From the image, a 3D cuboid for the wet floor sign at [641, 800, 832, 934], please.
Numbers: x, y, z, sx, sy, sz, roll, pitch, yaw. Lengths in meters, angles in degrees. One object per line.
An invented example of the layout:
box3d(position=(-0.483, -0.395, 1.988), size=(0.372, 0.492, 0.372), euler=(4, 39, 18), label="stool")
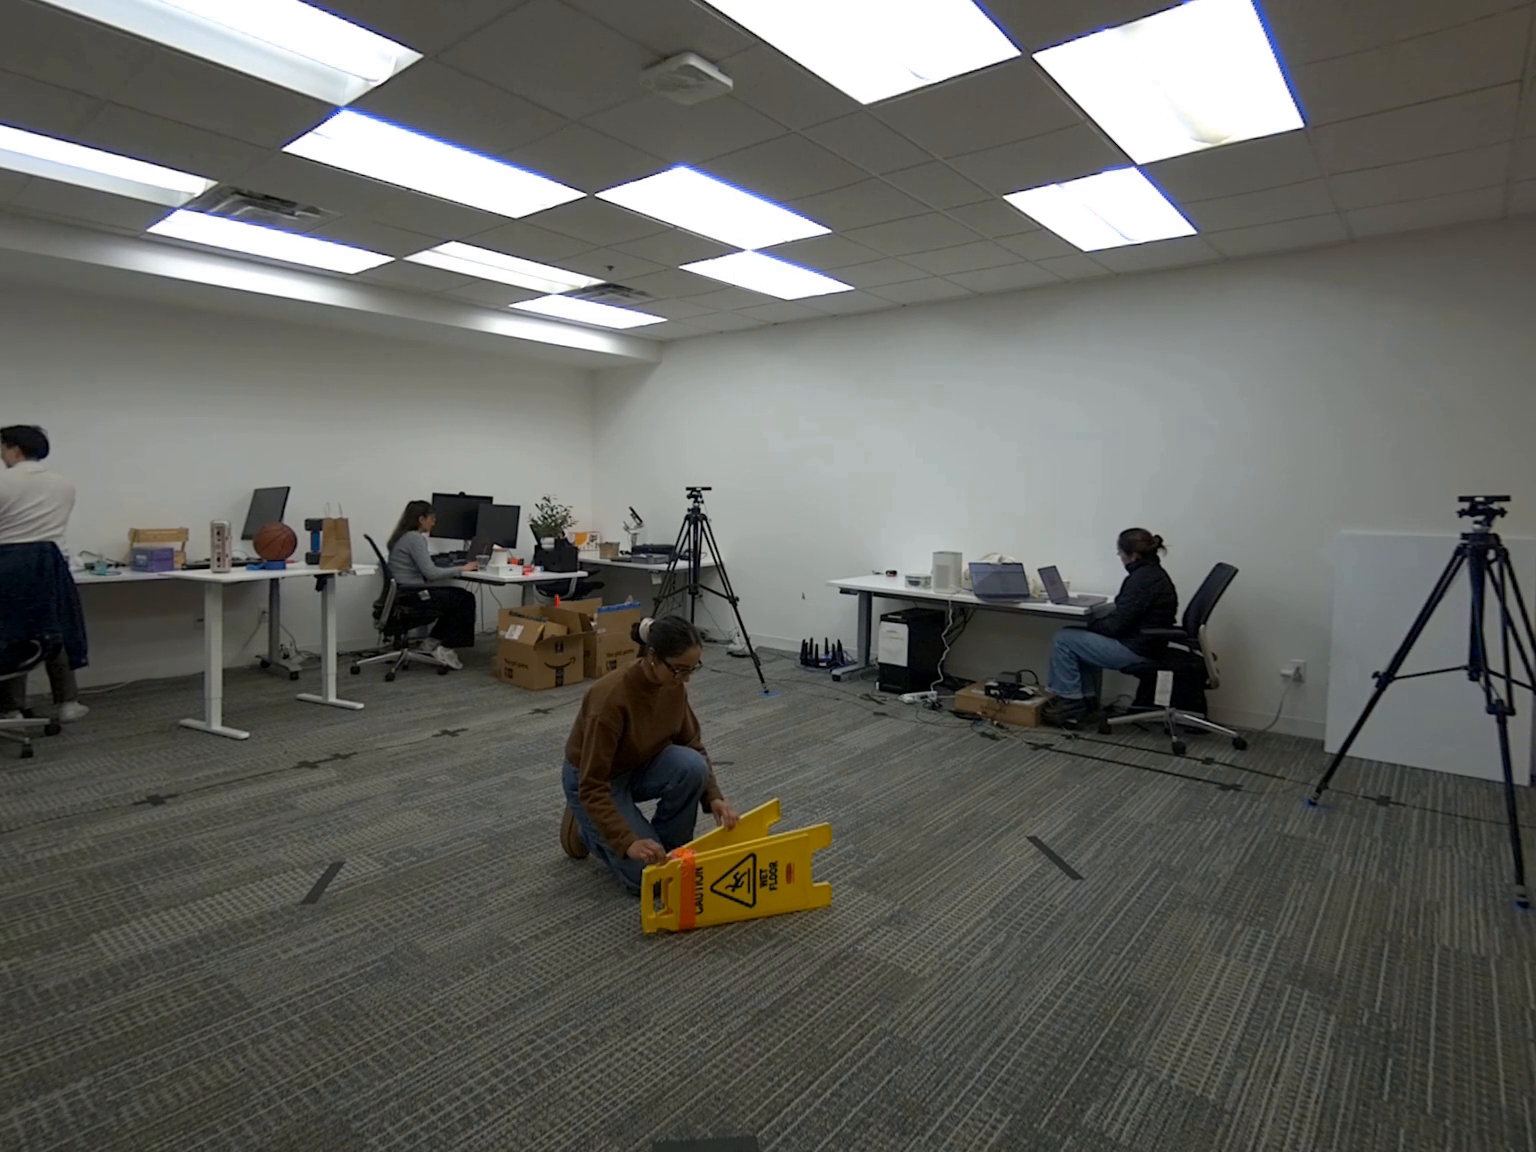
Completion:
box3d(position=(-0.133, 0.969, 2.774), size=(0.628, 0.281, 0.299), euler=(-5, 6, -37), label="wet floor sign")
